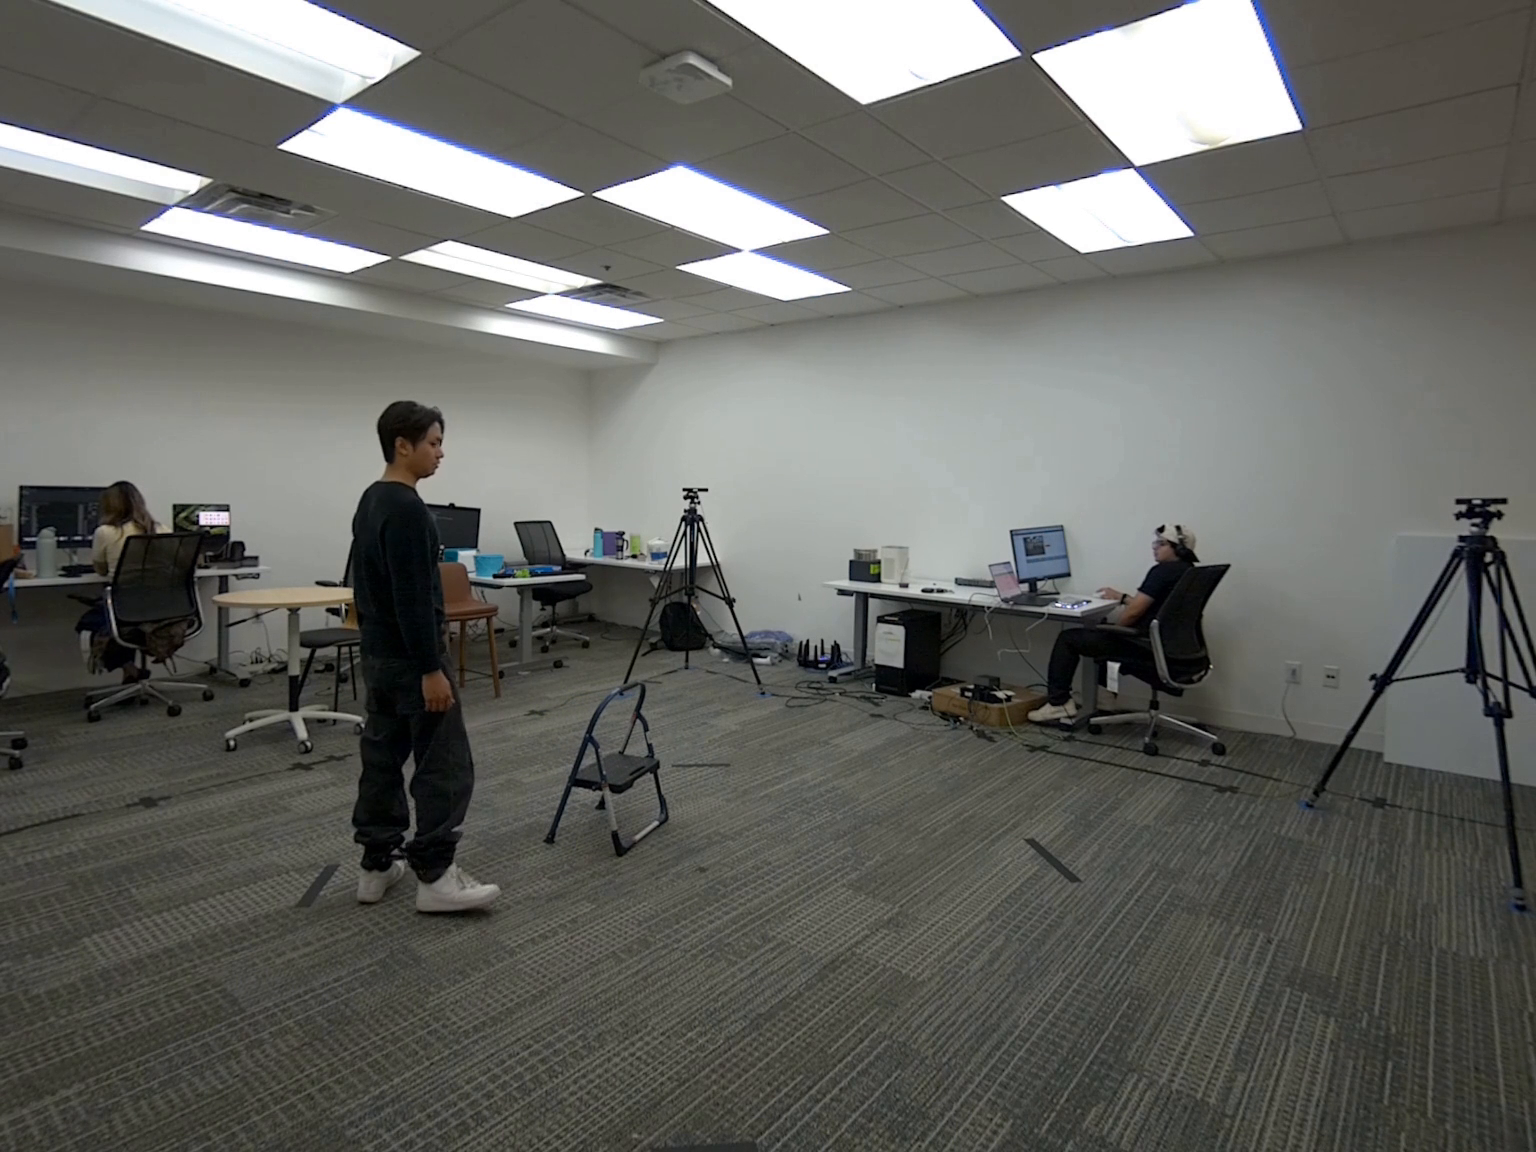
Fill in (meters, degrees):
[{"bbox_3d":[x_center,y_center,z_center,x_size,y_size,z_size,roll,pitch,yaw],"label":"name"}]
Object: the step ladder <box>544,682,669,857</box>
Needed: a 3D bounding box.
[{"bbox_3d":[-0.654,0.728,3.435,0.357,0.604,0.422,1,4,20],"label":"step ladder"}]
